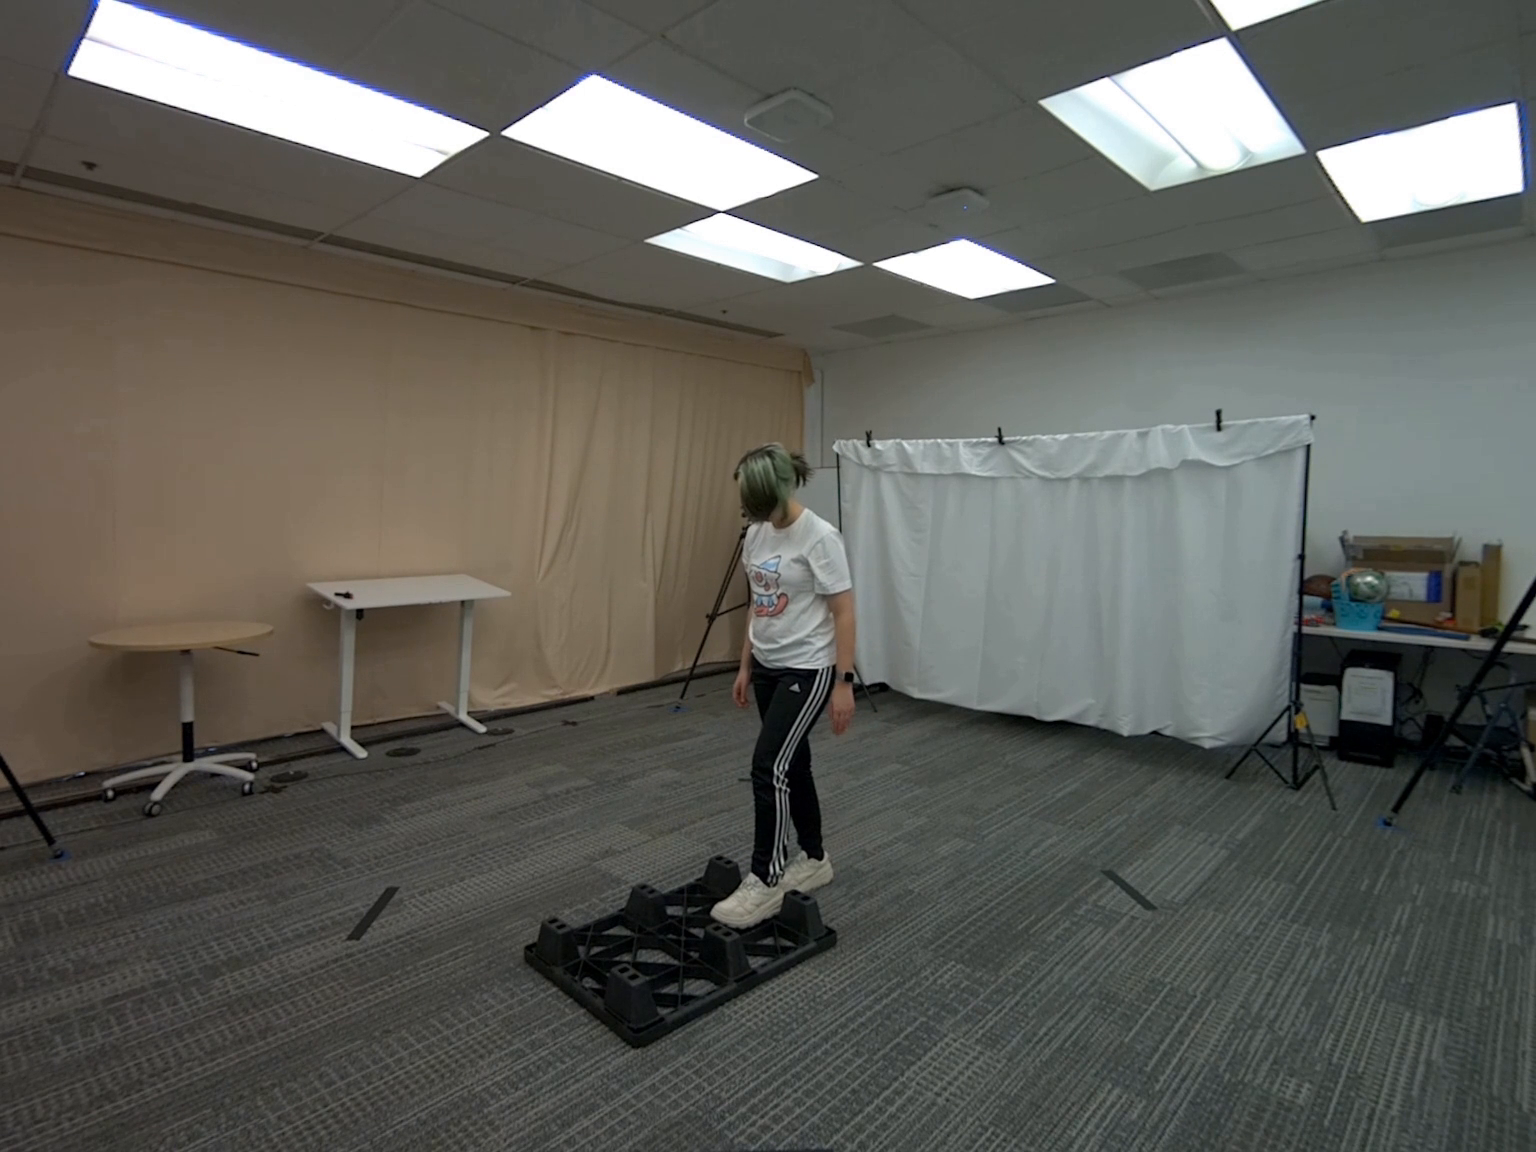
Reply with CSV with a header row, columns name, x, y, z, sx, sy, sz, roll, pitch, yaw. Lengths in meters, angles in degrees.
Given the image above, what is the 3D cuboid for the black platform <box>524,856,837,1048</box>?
name,x,y,z,sx,sy,sz,roll,pitch,yaw
black platform,-0.266,1.110,2.637,0.781,0.143,0.625,-4,7,-44
